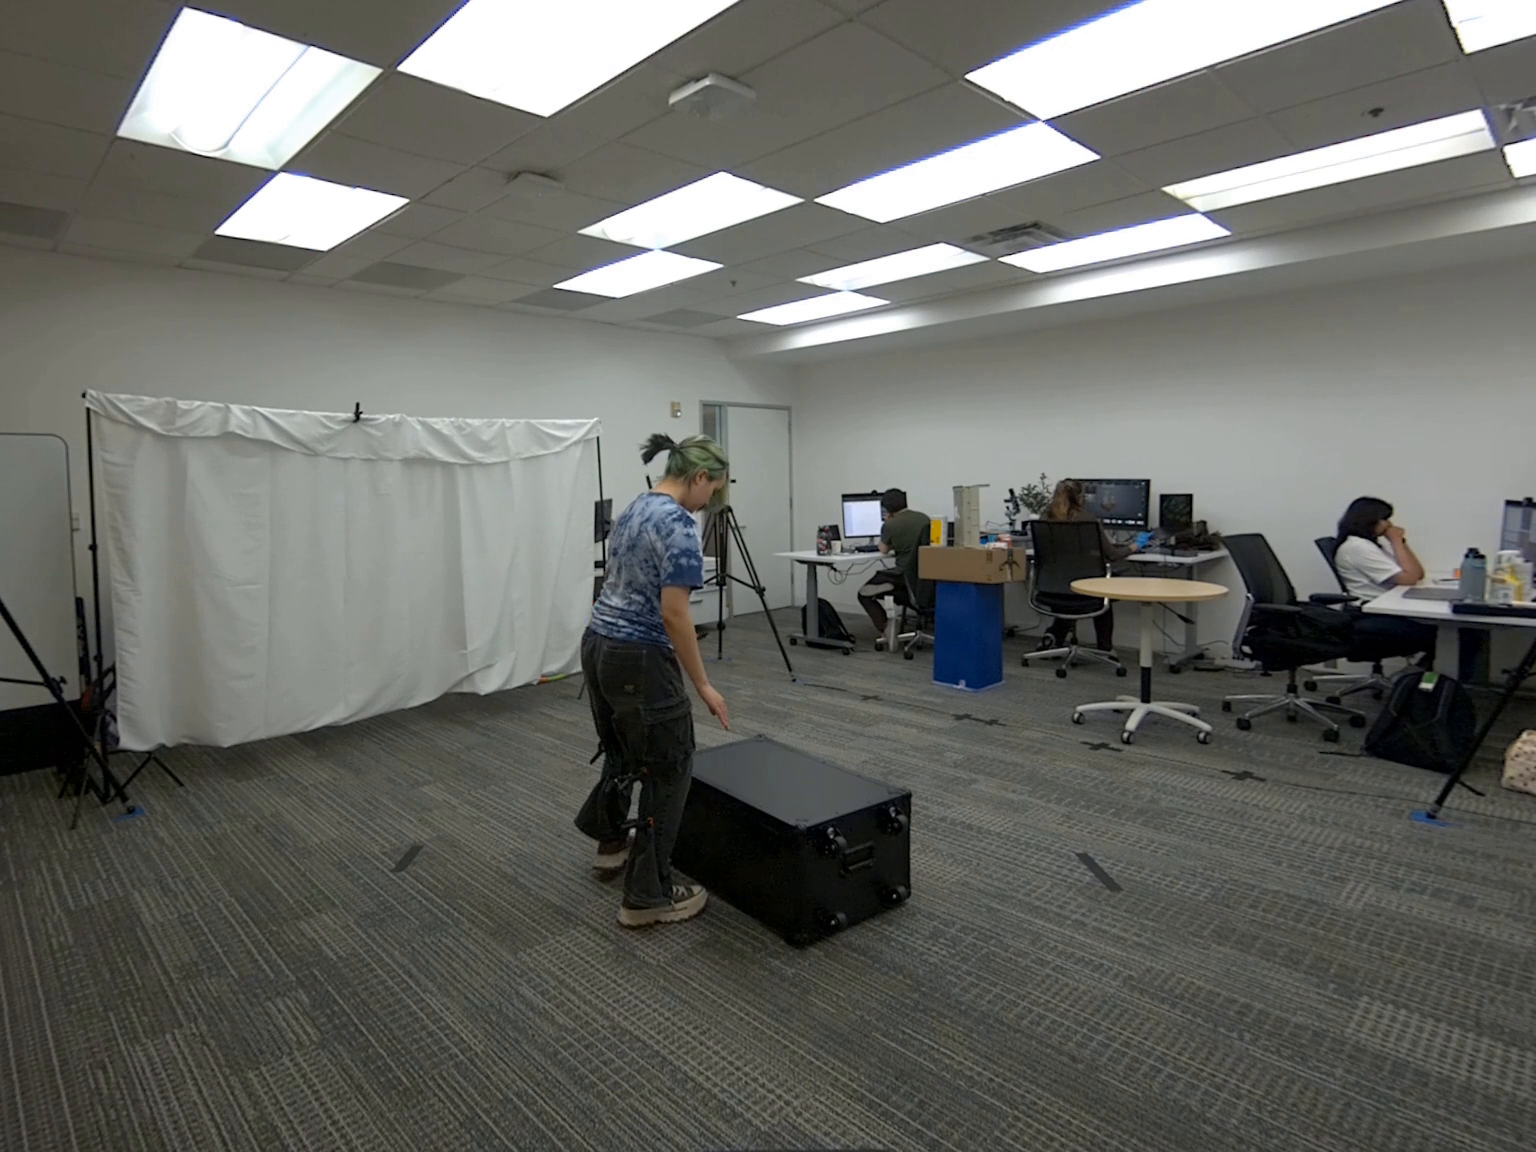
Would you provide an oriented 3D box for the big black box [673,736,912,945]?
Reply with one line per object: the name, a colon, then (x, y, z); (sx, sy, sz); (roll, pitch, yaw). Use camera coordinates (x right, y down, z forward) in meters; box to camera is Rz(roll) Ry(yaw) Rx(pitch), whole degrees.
big black box: (0.058, 0.874, 2.934); (0.508, 0.395, 0.887); (-5, 6, -37)
